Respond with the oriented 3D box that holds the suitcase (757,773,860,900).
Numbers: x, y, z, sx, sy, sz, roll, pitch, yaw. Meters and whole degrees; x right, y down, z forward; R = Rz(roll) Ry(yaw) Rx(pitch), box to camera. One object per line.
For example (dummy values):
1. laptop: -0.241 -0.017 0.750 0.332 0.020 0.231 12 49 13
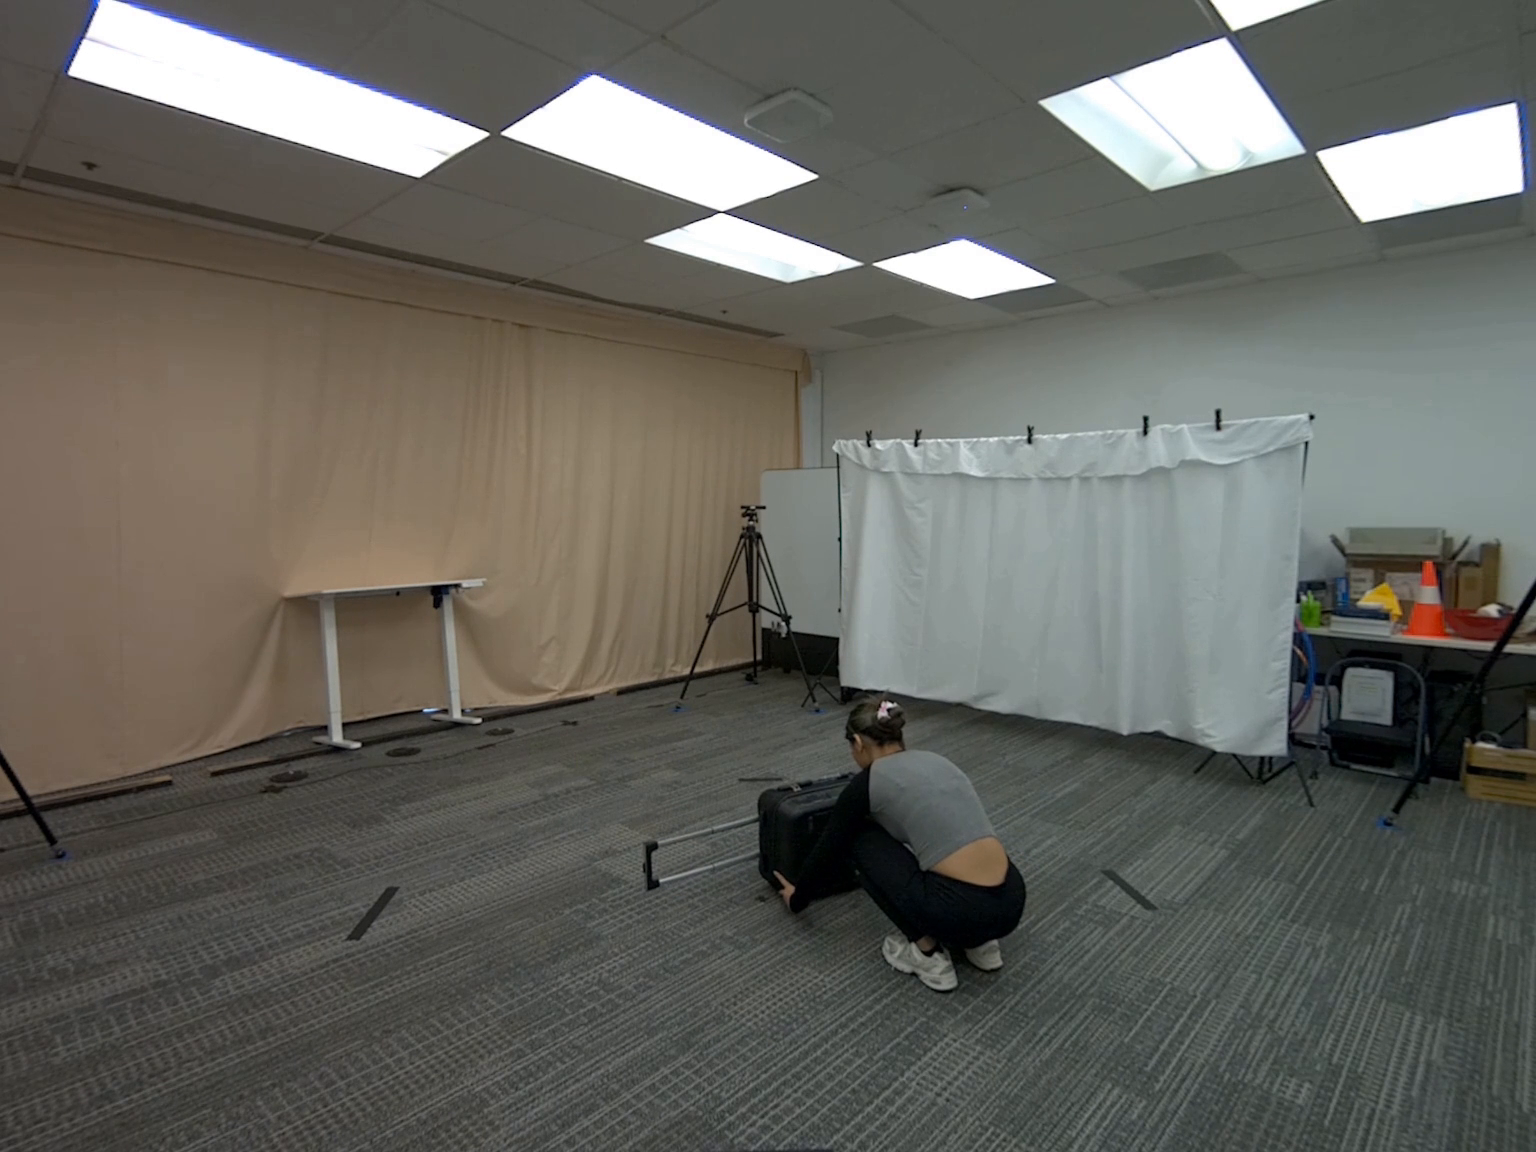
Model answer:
1. suitcase: 0.057 0.951 2.994 0.952 0.383 0.264 -3 3 -31
